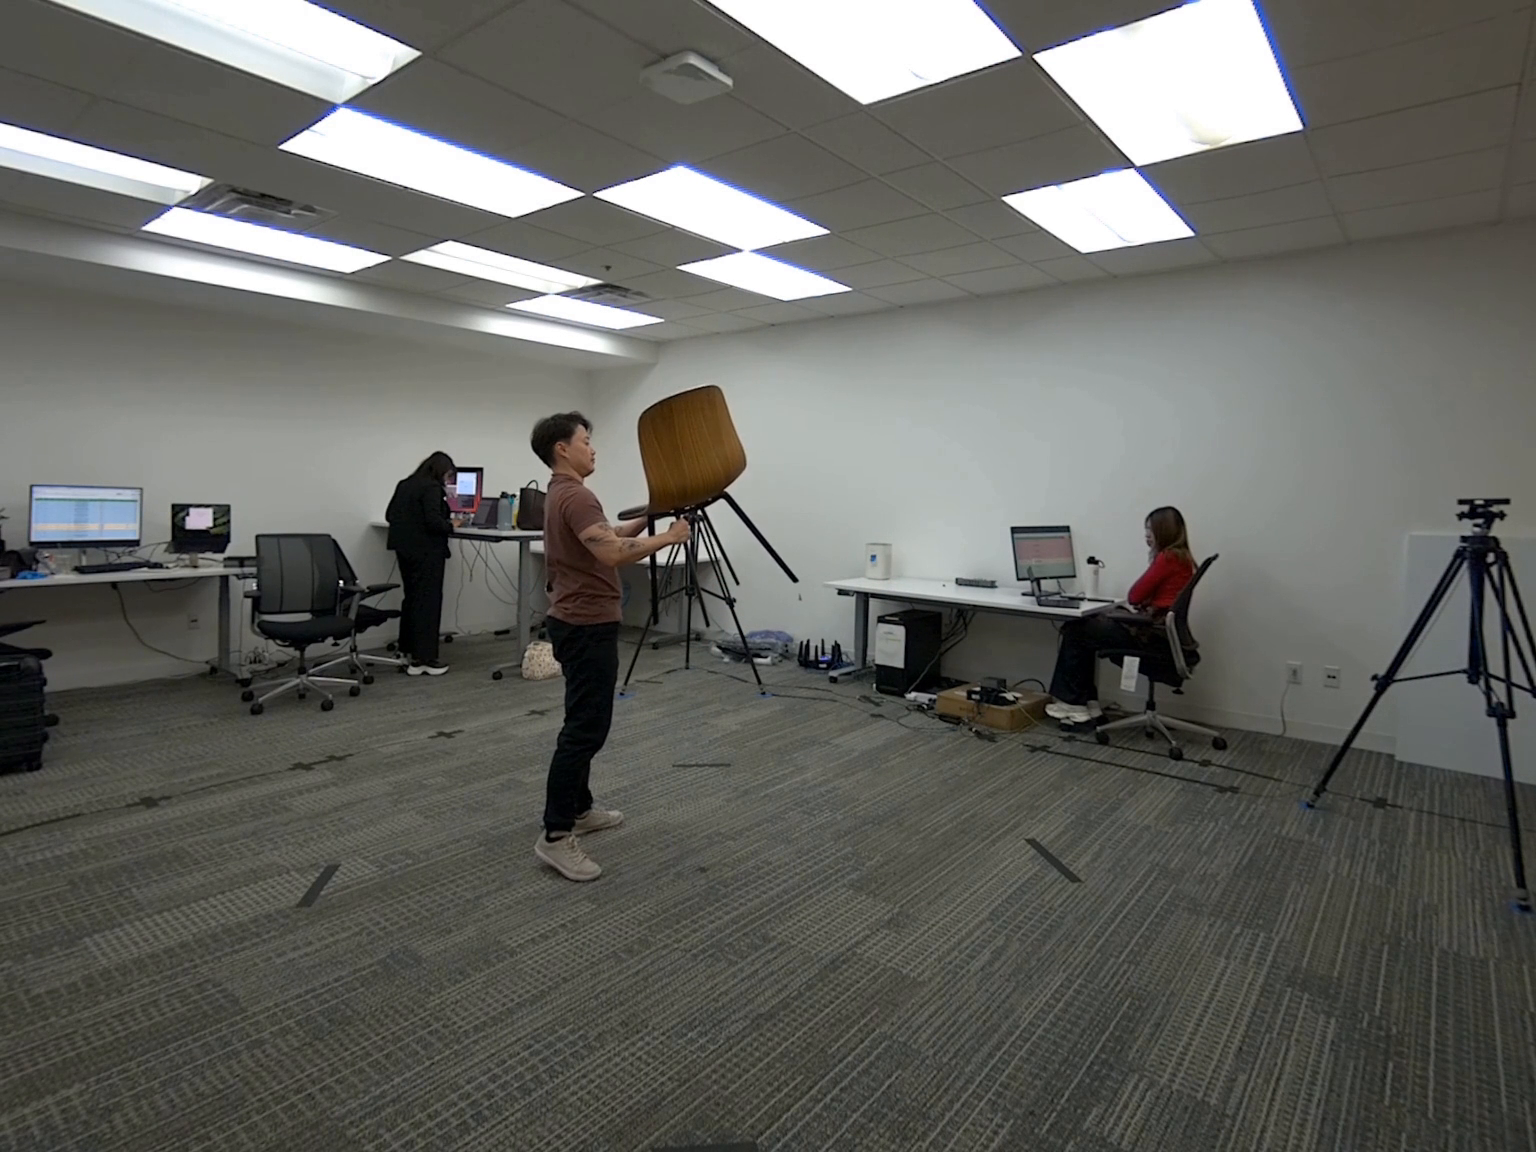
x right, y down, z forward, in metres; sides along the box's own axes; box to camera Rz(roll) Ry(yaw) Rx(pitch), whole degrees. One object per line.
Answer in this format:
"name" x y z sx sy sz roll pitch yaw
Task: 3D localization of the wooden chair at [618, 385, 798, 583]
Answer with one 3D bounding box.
"wooden chair" -0.335 -0.285 3.390 0.471 0.866 0.538 -25 13 -30
